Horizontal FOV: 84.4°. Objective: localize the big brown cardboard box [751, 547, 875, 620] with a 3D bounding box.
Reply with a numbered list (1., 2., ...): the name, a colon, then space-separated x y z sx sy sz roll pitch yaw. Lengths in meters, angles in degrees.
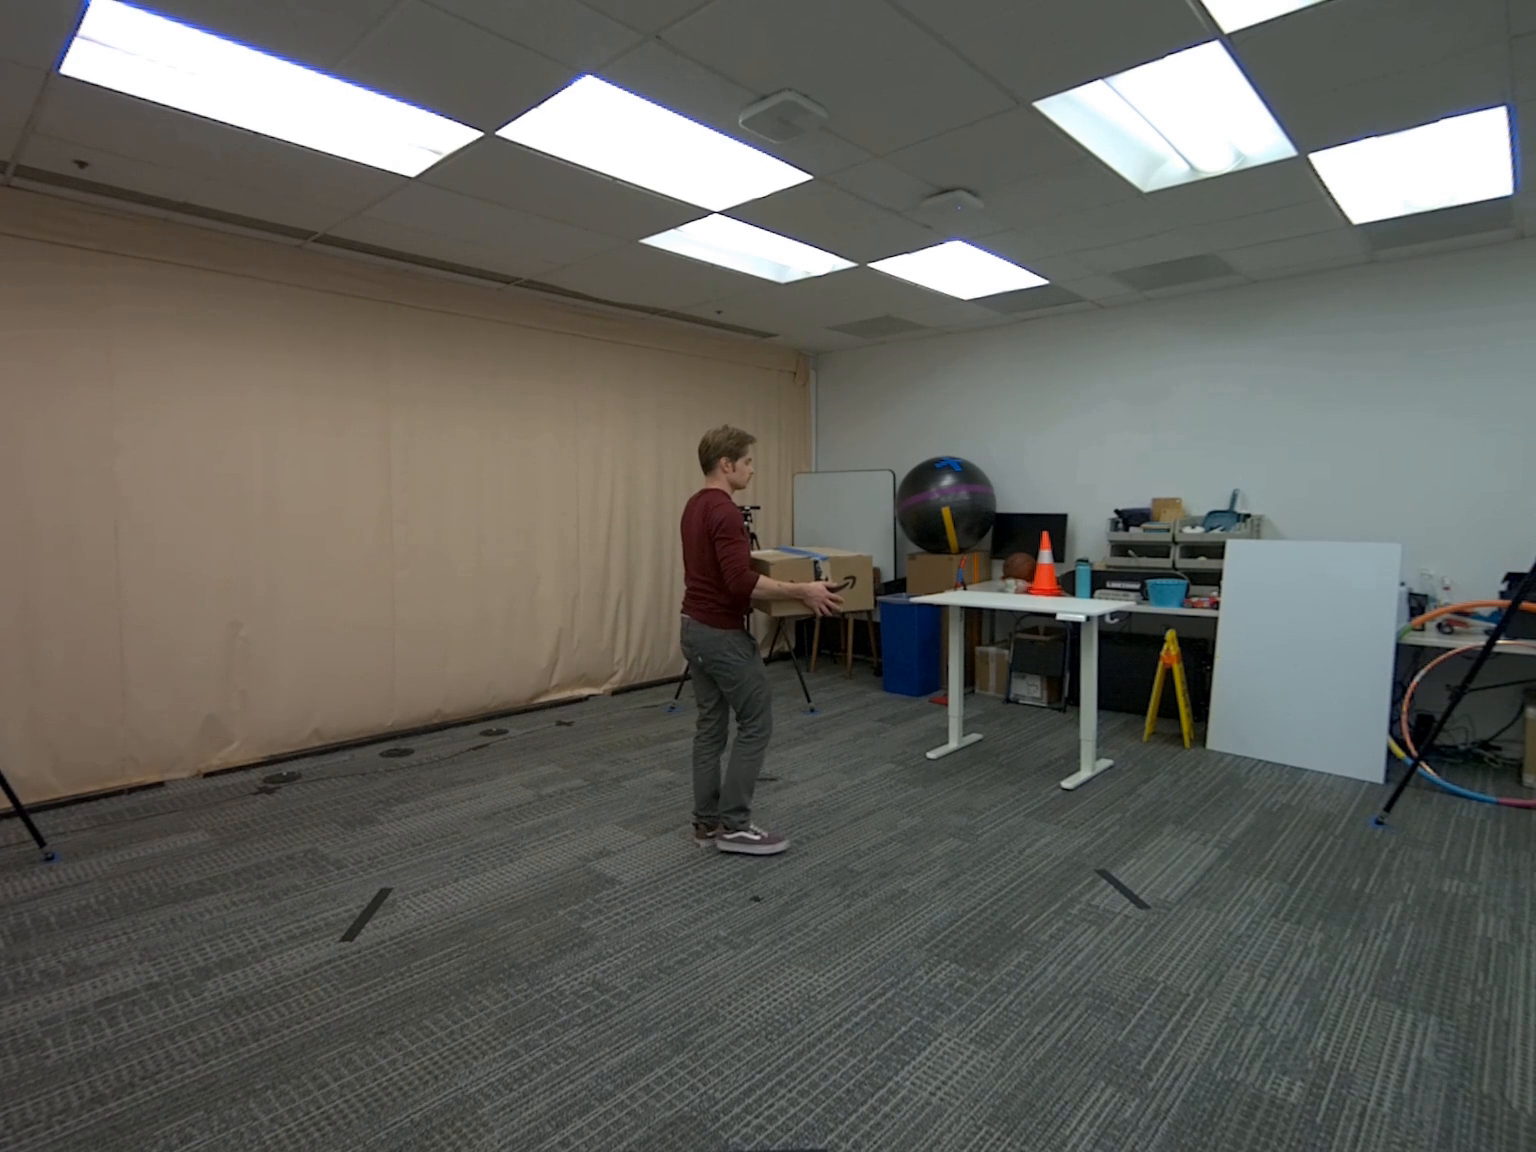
1. big brown cardboard box: 0.138 0.011 3.498 0.412 0.232 0.599 -5 7 -14
